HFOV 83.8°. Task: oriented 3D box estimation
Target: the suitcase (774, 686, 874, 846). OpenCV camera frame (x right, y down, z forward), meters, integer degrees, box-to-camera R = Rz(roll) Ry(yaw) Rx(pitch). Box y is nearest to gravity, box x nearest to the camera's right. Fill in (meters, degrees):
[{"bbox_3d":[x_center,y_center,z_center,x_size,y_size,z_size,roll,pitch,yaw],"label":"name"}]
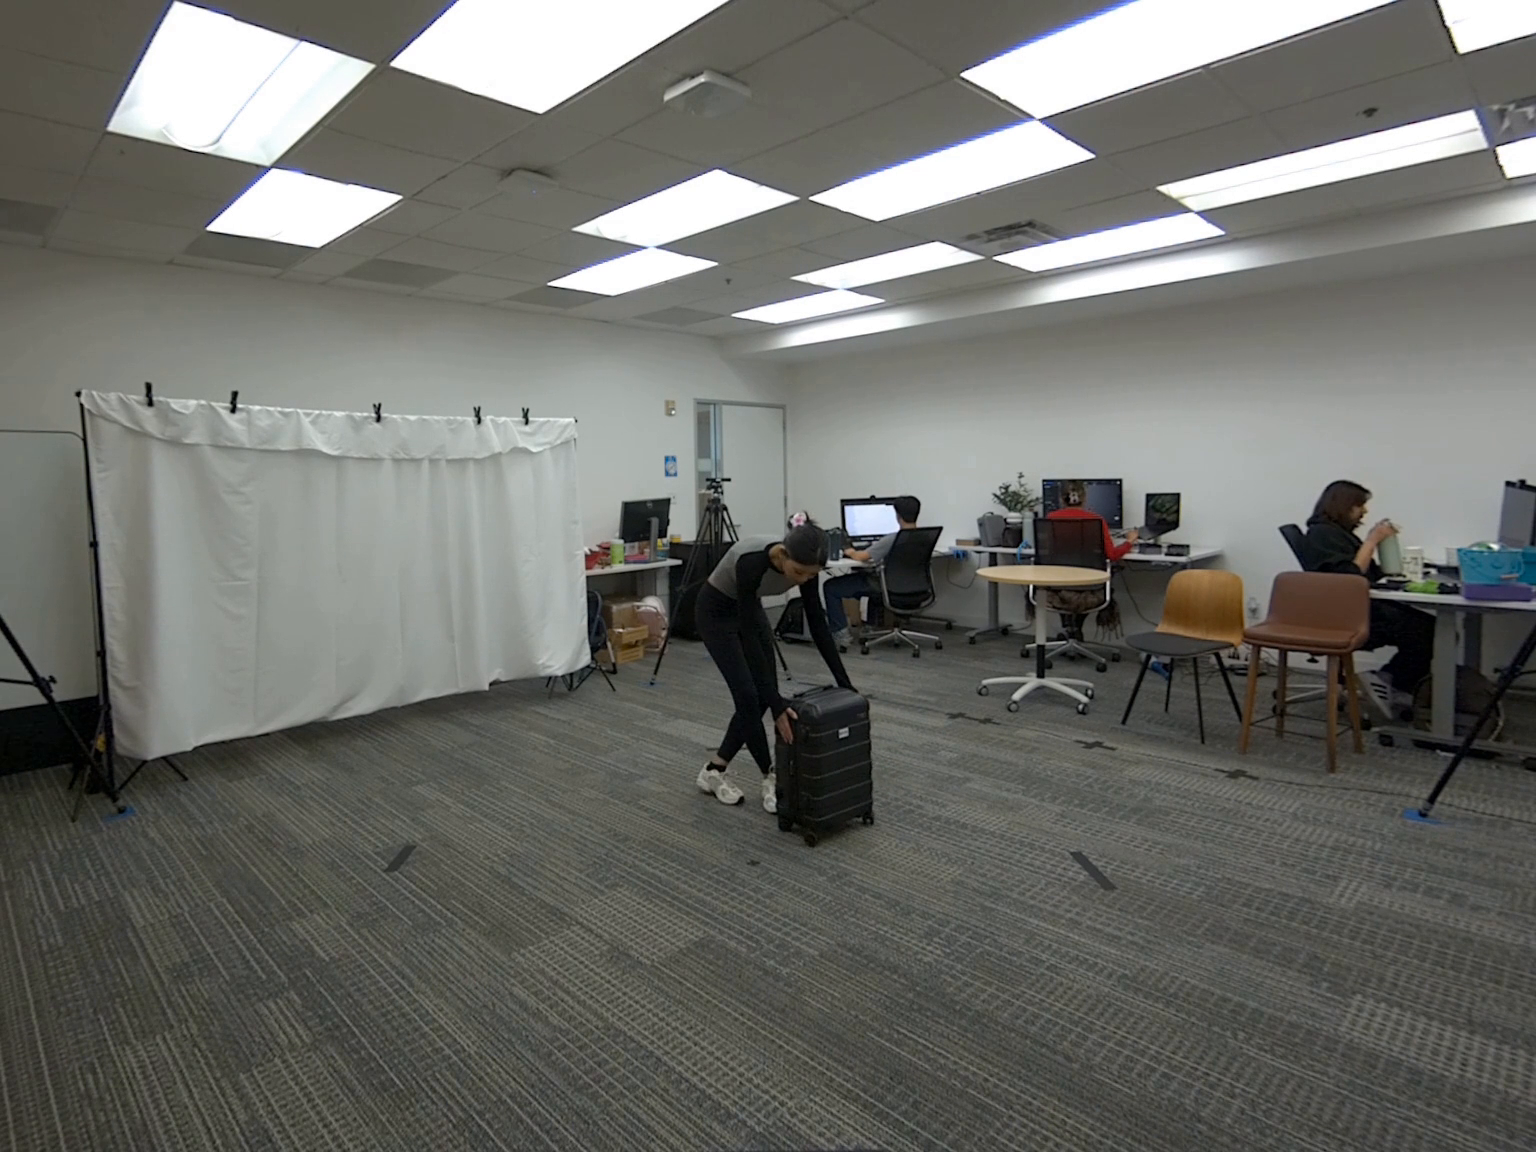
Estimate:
[{"bbox_3d":[0.226,0.728,3.402,0.366,0.548,0.255,-5,4,-39],"label":"suitcase"}]
